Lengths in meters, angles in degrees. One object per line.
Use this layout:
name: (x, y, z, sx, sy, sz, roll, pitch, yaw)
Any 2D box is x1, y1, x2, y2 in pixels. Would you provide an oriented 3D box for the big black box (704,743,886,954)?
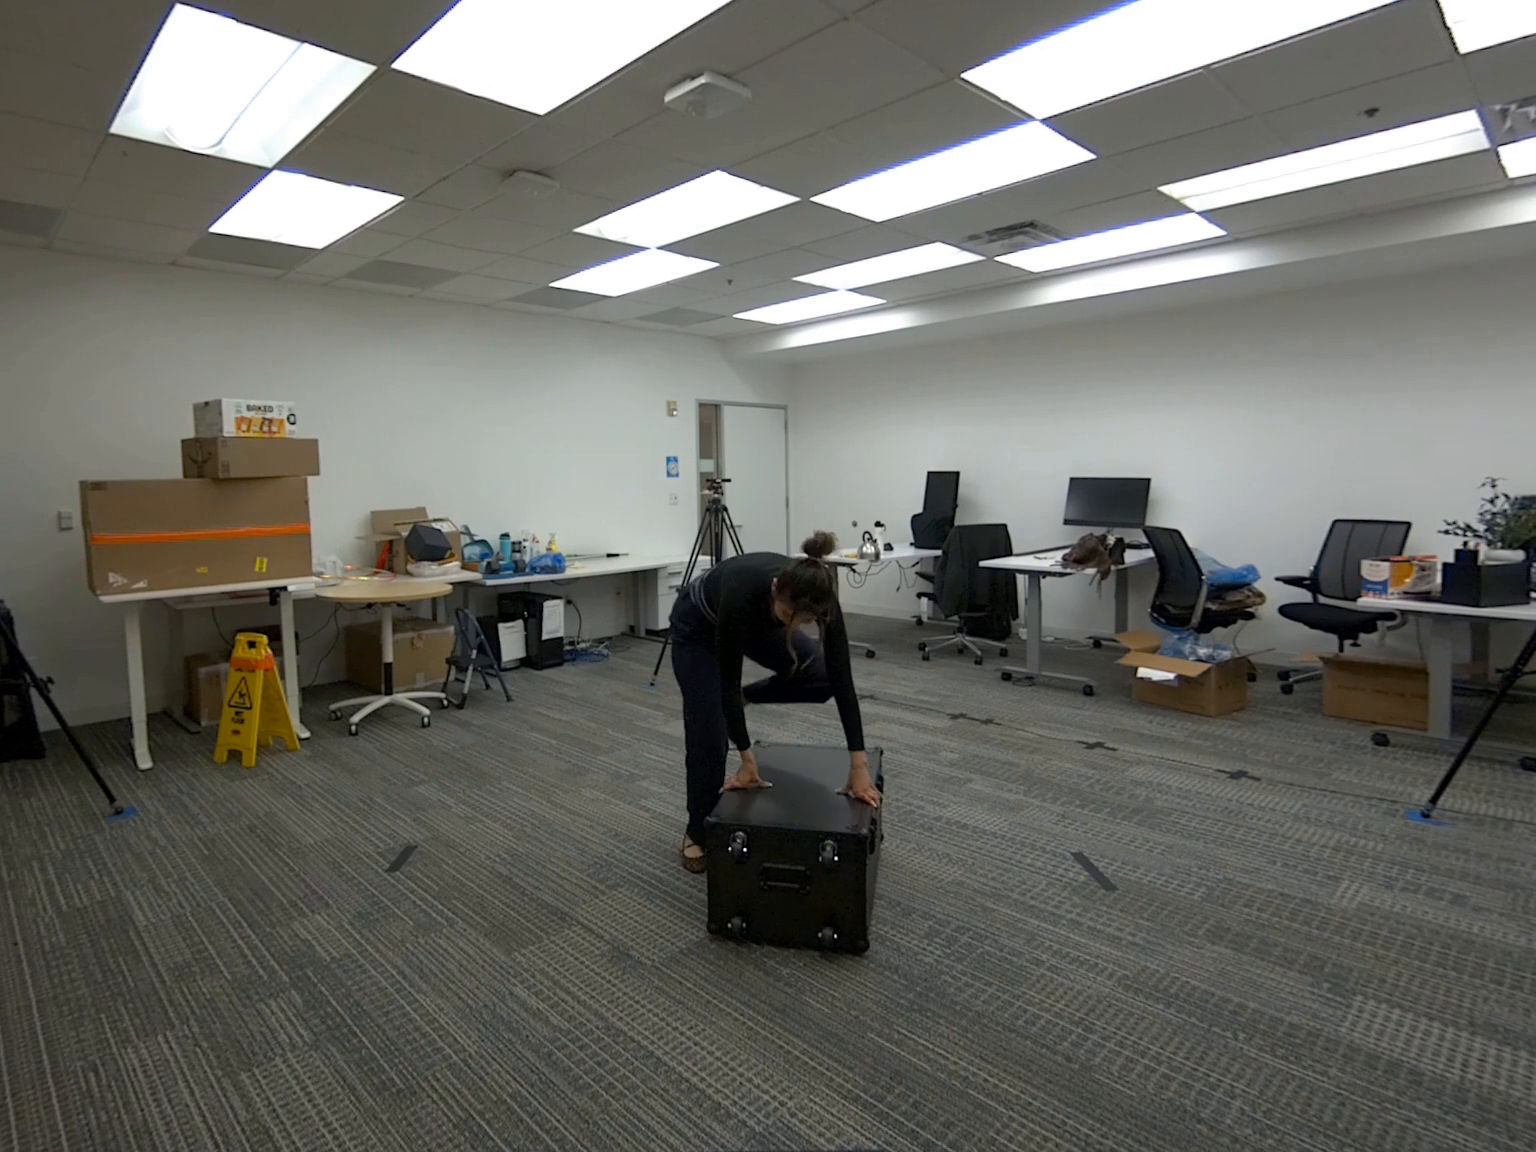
big black box: (0.112, 0.872, 2.863, 0.528, 0.395, 0.854, 0, 5, 12)
